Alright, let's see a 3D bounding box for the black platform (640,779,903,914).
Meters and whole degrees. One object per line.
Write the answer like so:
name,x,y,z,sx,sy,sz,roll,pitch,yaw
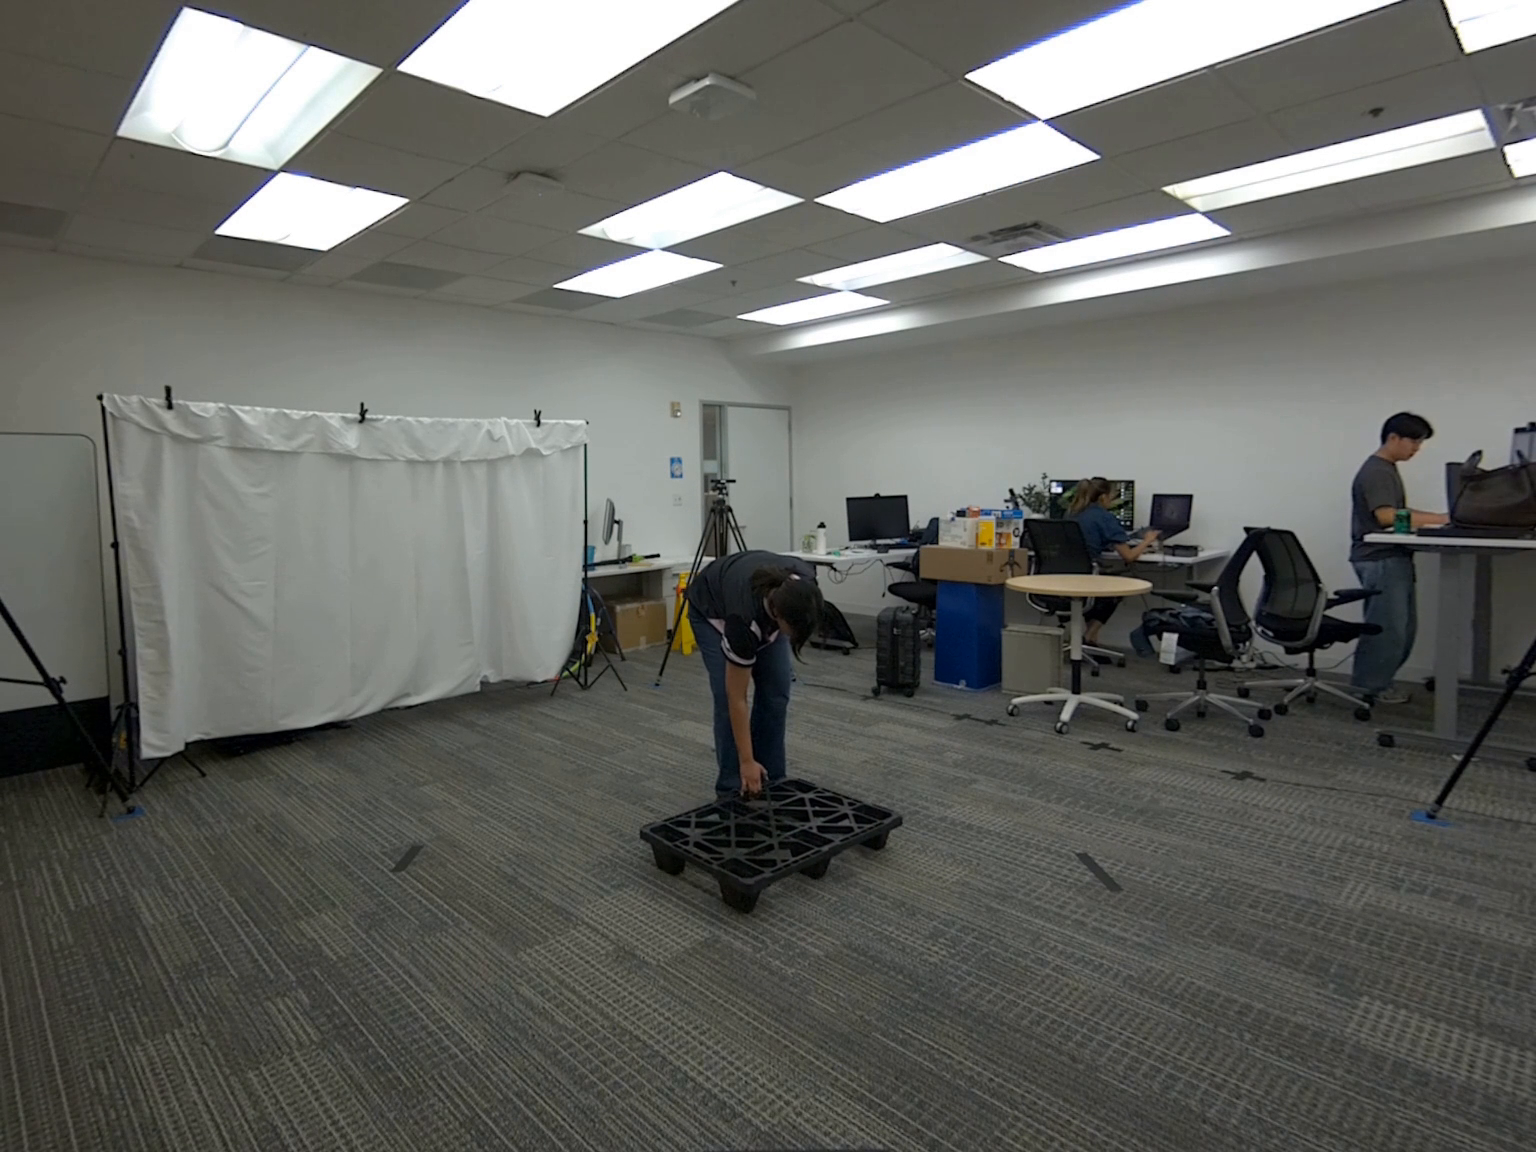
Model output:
black platform,0.026,0.973,3.155,0.785,0.142,0.624,-7,10,-42
